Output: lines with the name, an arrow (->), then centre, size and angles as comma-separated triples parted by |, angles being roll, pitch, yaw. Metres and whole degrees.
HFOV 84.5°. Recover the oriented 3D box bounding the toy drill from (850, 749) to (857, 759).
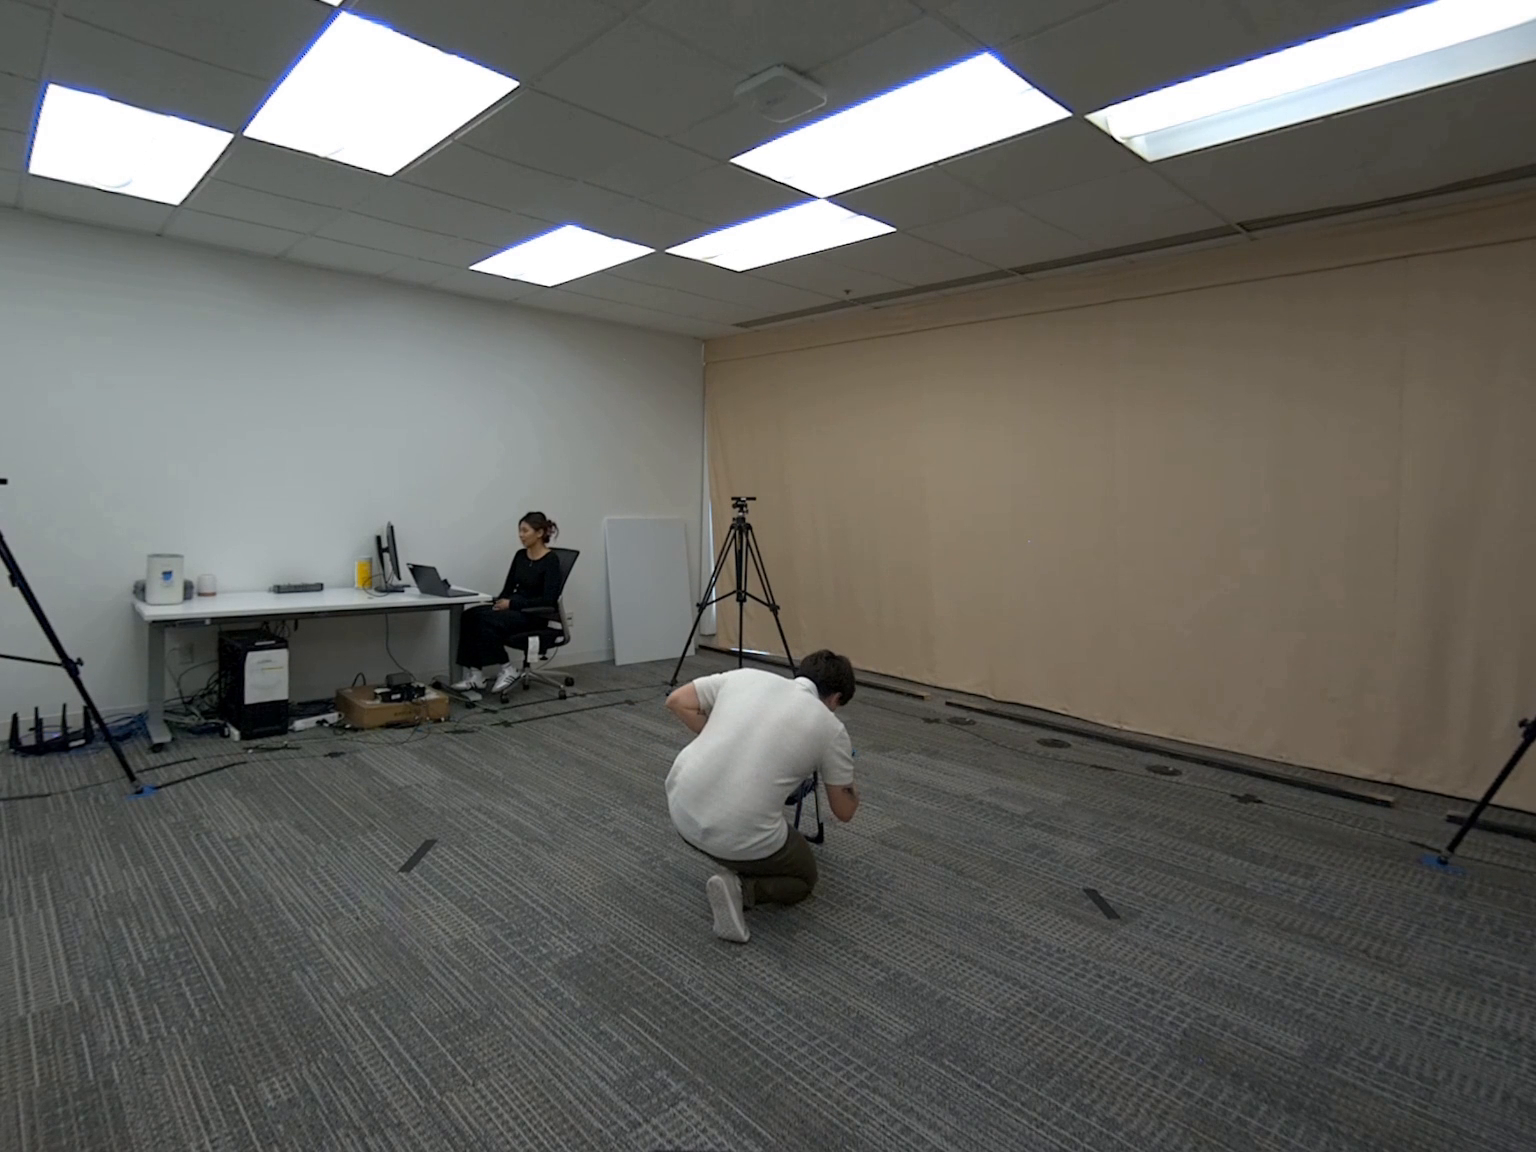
toy drill -> 0.247, 0.691, 3.182 | 0.174, 0.059, 0.146 | 3, 45, 39
